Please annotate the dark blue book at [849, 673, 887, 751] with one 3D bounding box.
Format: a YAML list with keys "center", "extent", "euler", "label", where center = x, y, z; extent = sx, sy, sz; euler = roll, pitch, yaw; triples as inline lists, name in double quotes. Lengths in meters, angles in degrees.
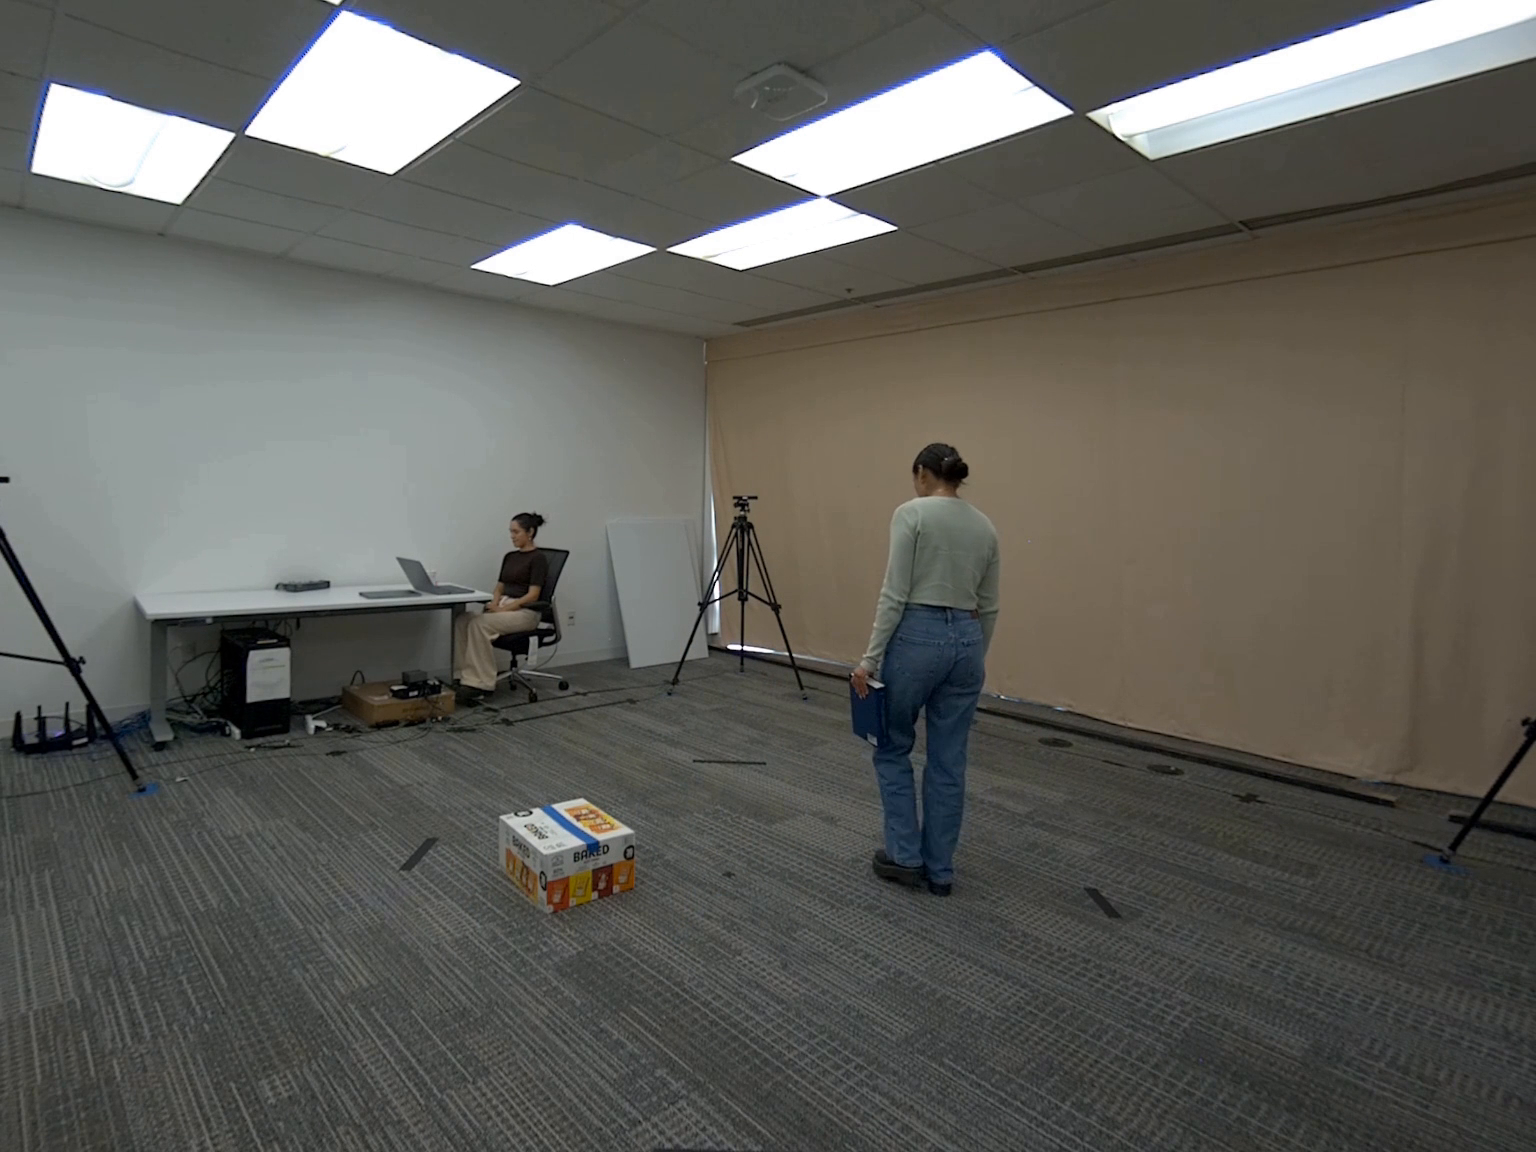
- center: [0.361, 0.484, 3.027]
  extent: [0.044, 0.242, 0.168]
  euler: [-12, 17, -24]
  label: "dark blue book"
